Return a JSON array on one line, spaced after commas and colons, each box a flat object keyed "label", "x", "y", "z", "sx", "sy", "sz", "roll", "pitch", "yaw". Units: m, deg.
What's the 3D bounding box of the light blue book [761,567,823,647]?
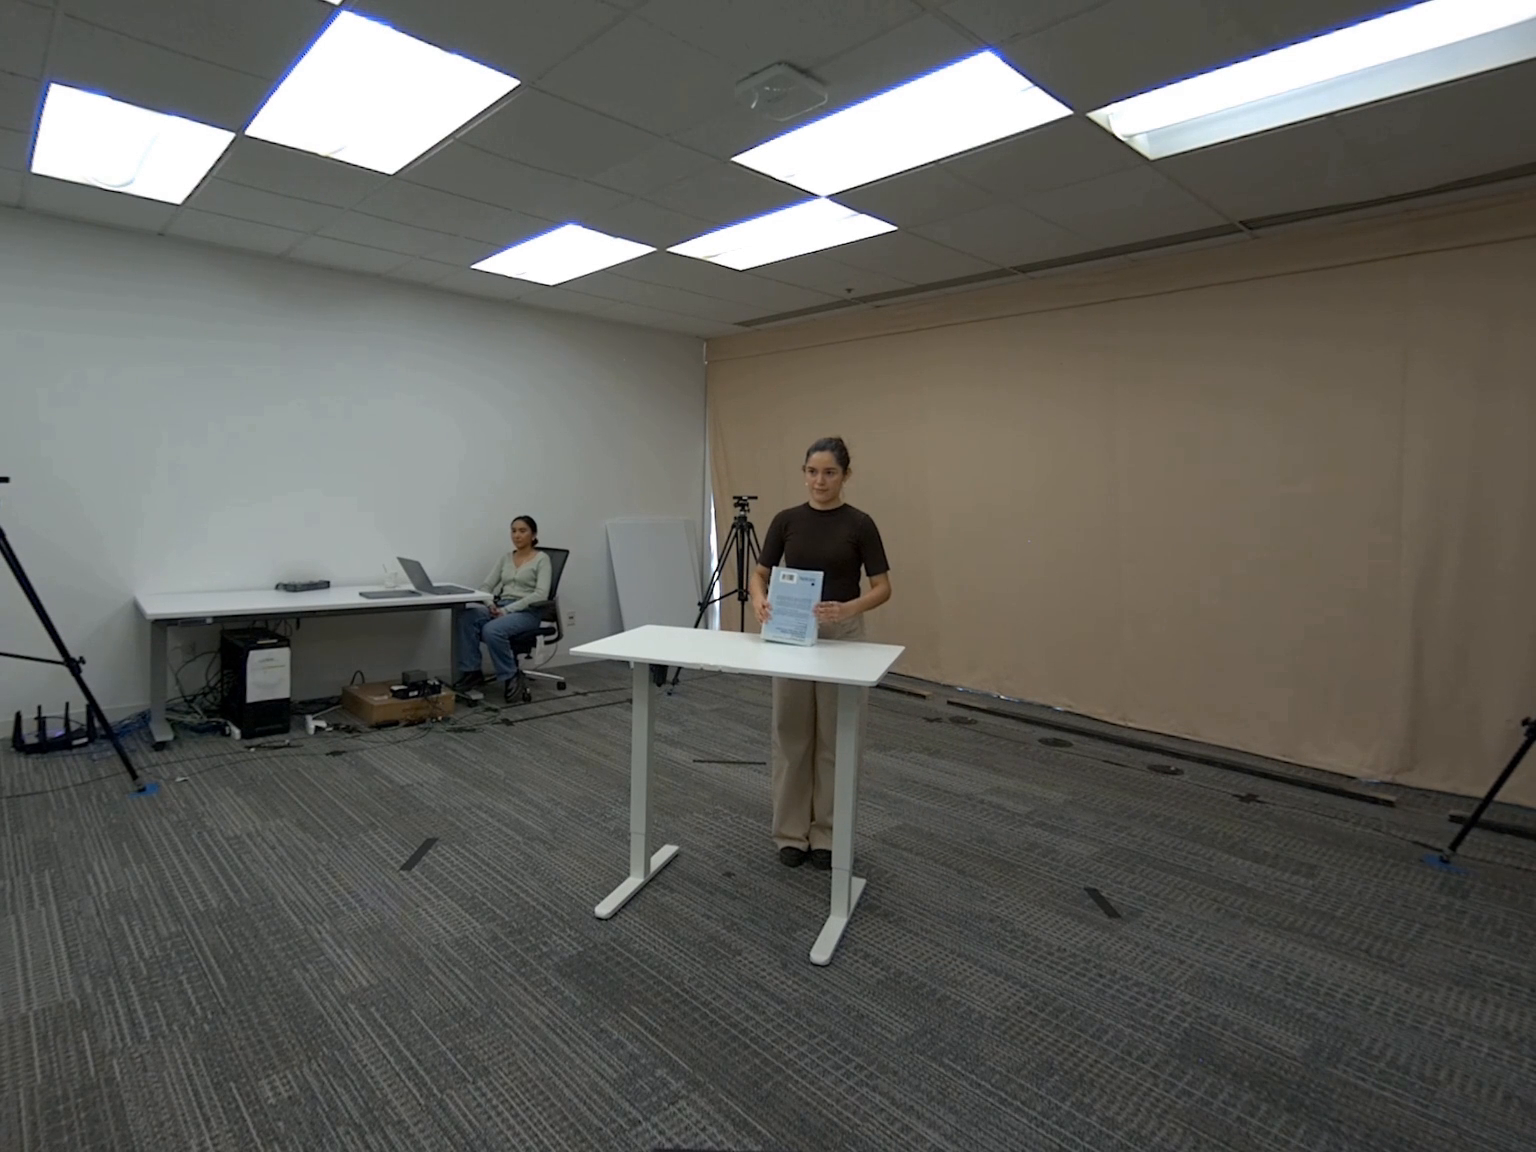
[{"label": "light blue book", "x": 0.084, "y": 0.111, "z": 2.983, "sx": 0.194, "sy": 0.262, "sz": 0.058, "roll": 5, "pitch": -10, "yaw": 16}]
